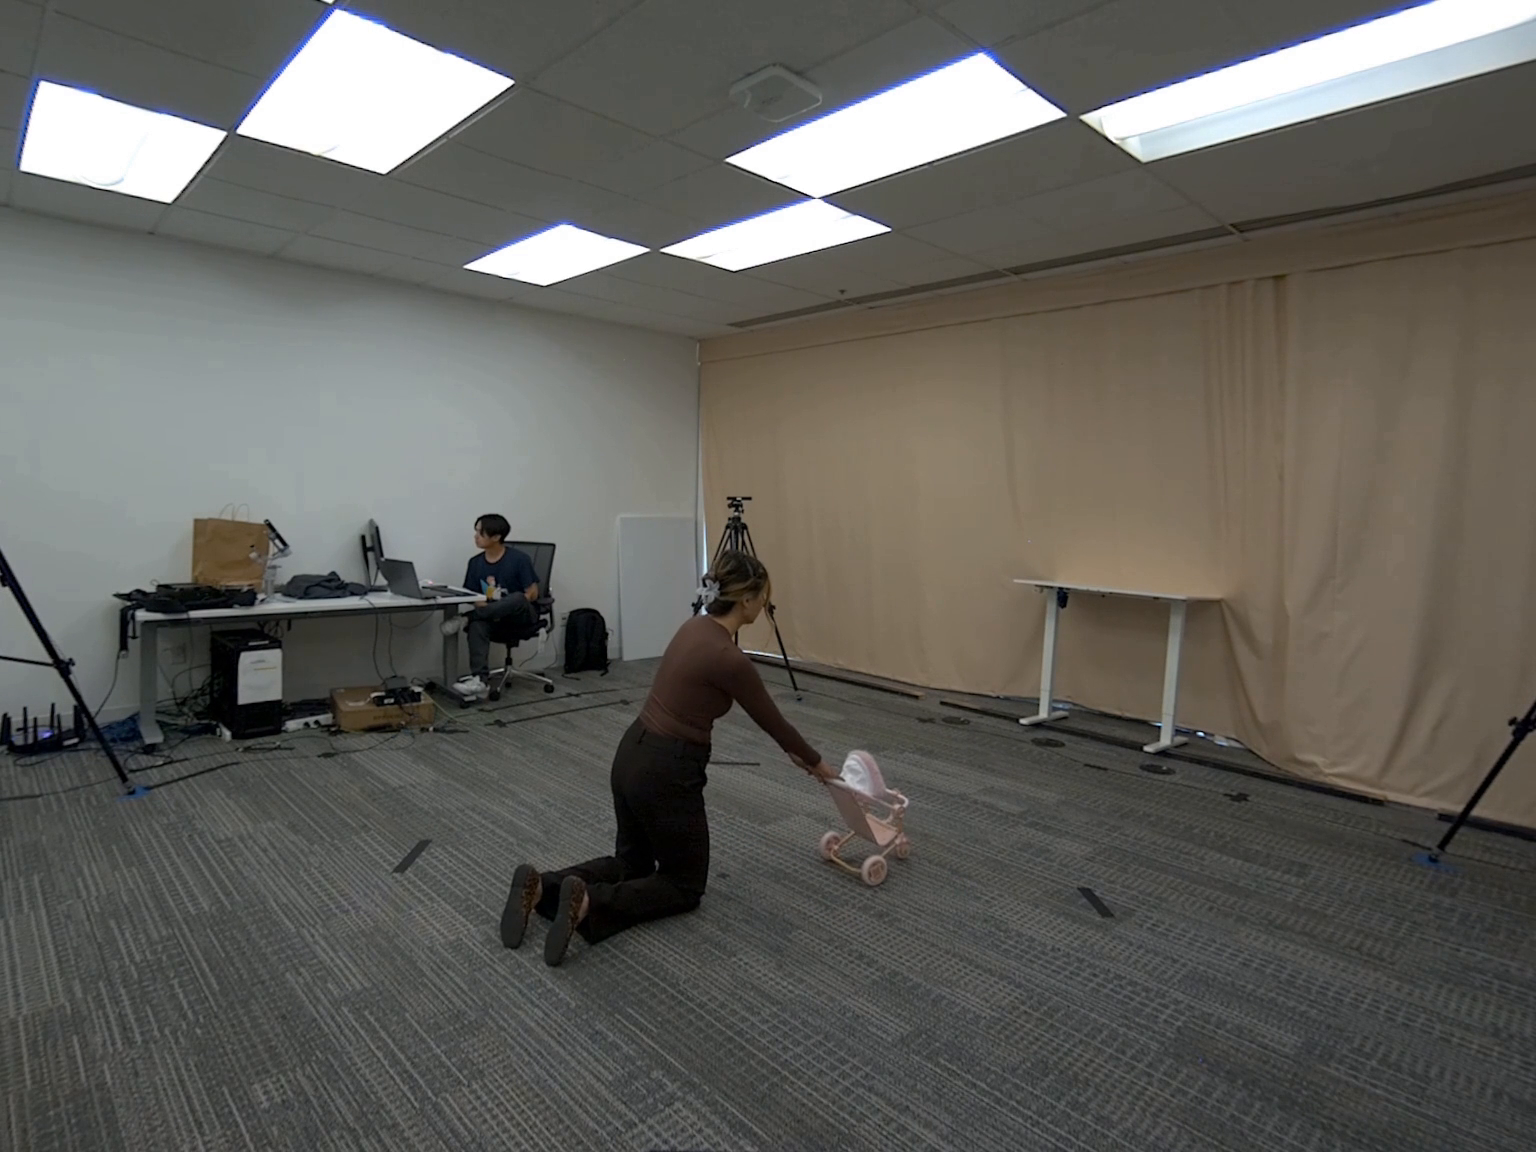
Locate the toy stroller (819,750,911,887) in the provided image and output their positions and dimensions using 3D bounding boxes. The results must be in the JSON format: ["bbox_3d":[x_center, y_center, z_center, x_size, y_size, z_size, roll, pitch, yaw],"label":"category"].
[{"bbox_3d":[0.355,0.885,3.171,0.337,0.529,0.288,-21,14,-27],"label":"toy stroller"}]
